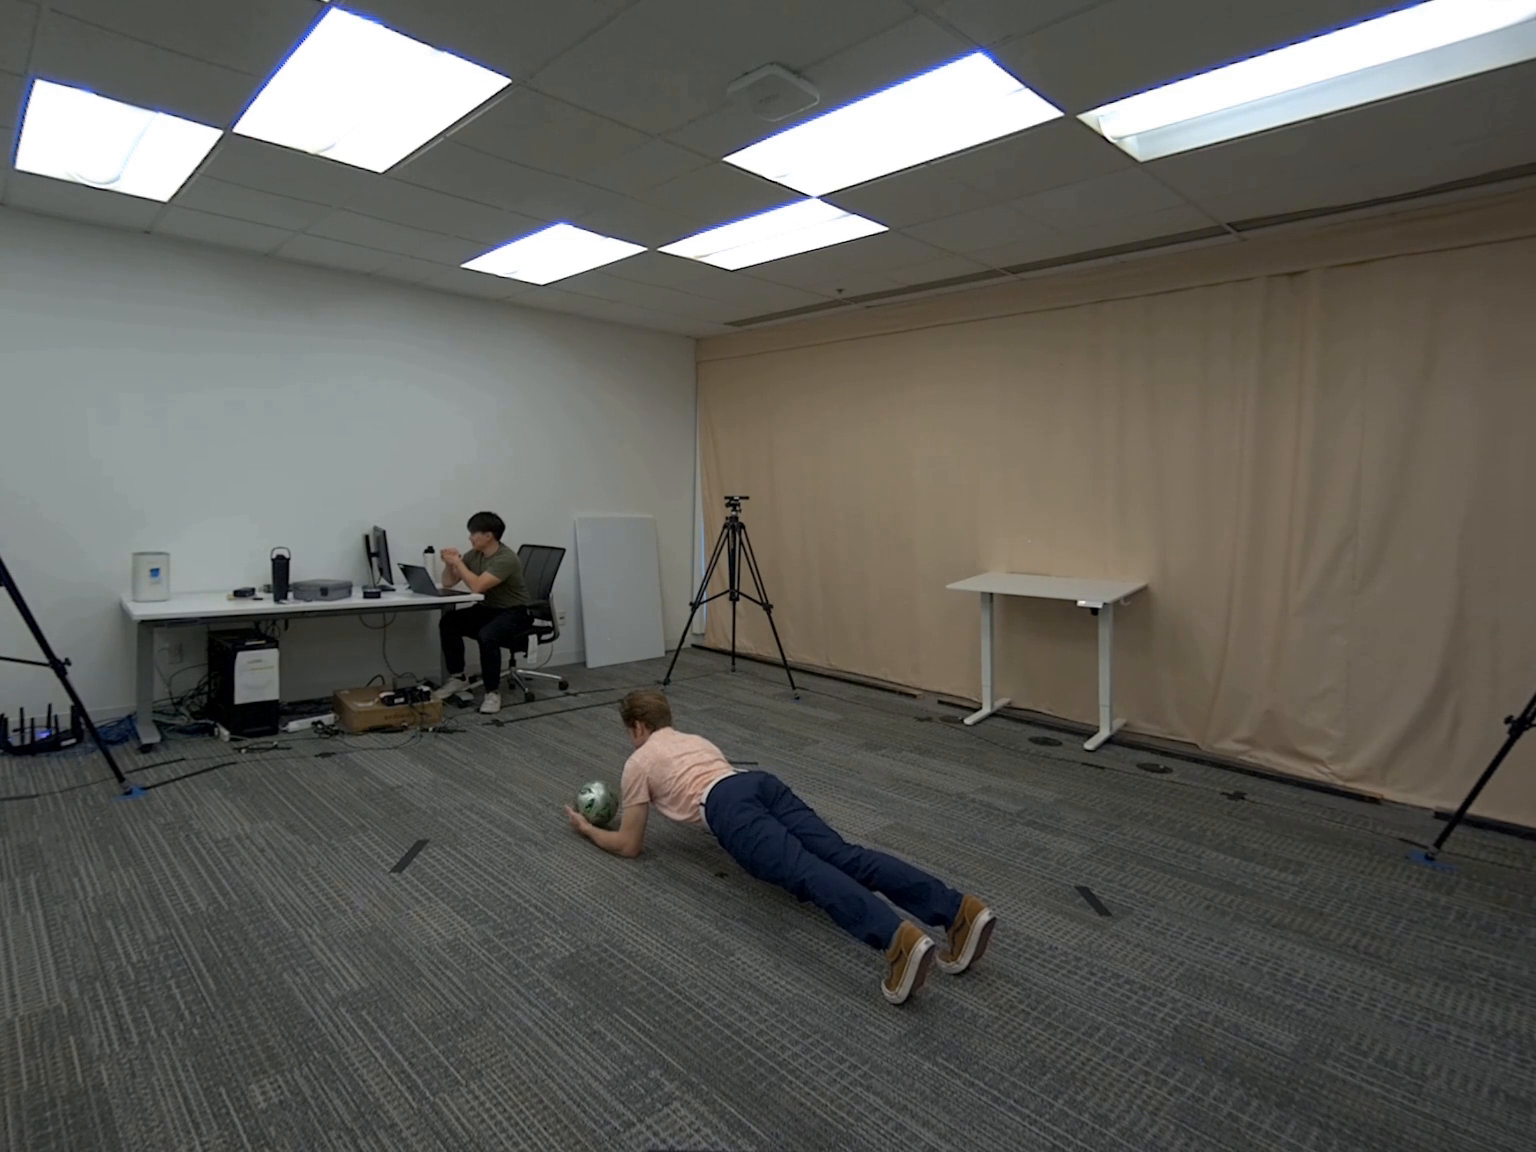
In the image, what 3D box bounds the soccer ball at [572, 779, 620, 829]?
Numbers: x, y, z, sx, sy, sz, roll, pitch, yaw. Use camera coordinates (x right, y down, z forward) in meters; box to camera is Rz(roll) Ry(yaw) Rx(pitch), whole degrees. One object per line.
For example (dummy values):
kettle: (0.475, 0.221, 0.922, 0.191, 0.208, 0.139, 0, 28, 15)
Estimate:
soccer ball: (-0.694, 0.949, 3.524, 0.187, 0.187, 0.188, 1, 4, -1)
